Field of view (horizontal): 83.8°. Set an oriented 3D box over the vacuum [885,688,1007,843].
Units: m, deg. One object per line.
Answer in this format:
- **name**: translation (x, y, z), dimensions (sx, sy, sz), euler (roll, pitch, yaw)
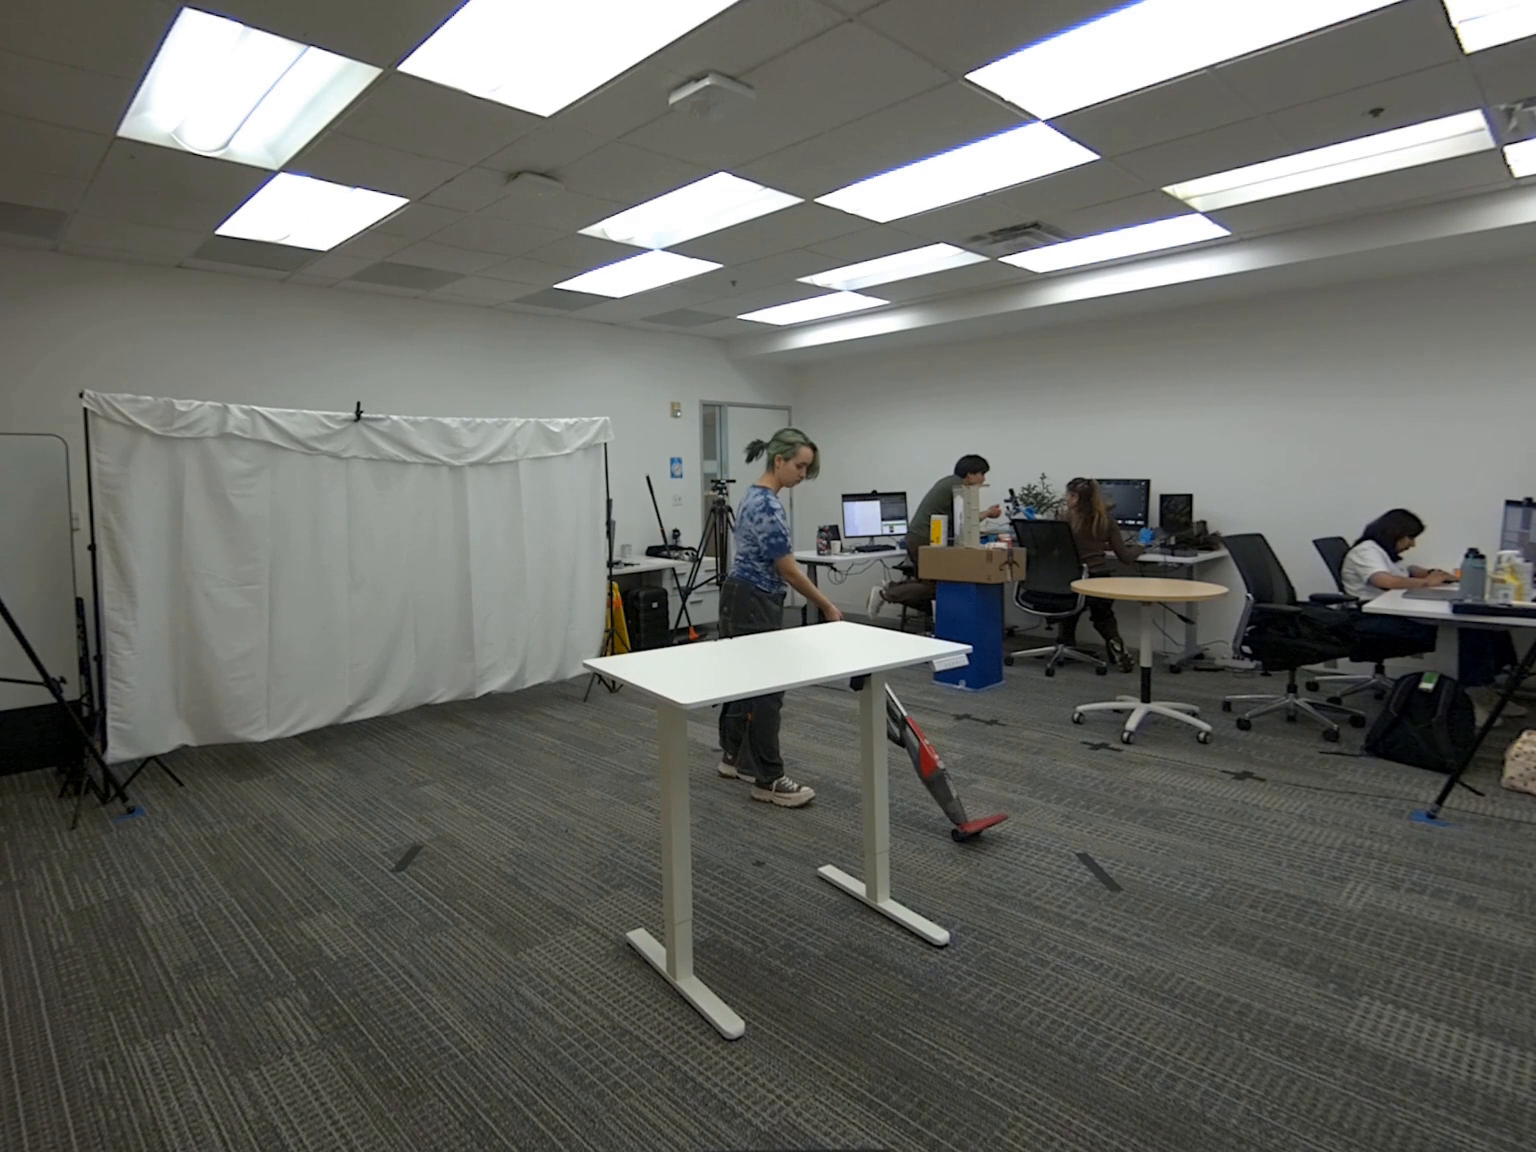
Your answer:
- **vacuum**: translation (0.550, 0.611, 3.548), dimensions (0.246, 0.143, 1.088), euler (-3, 45, -38)
